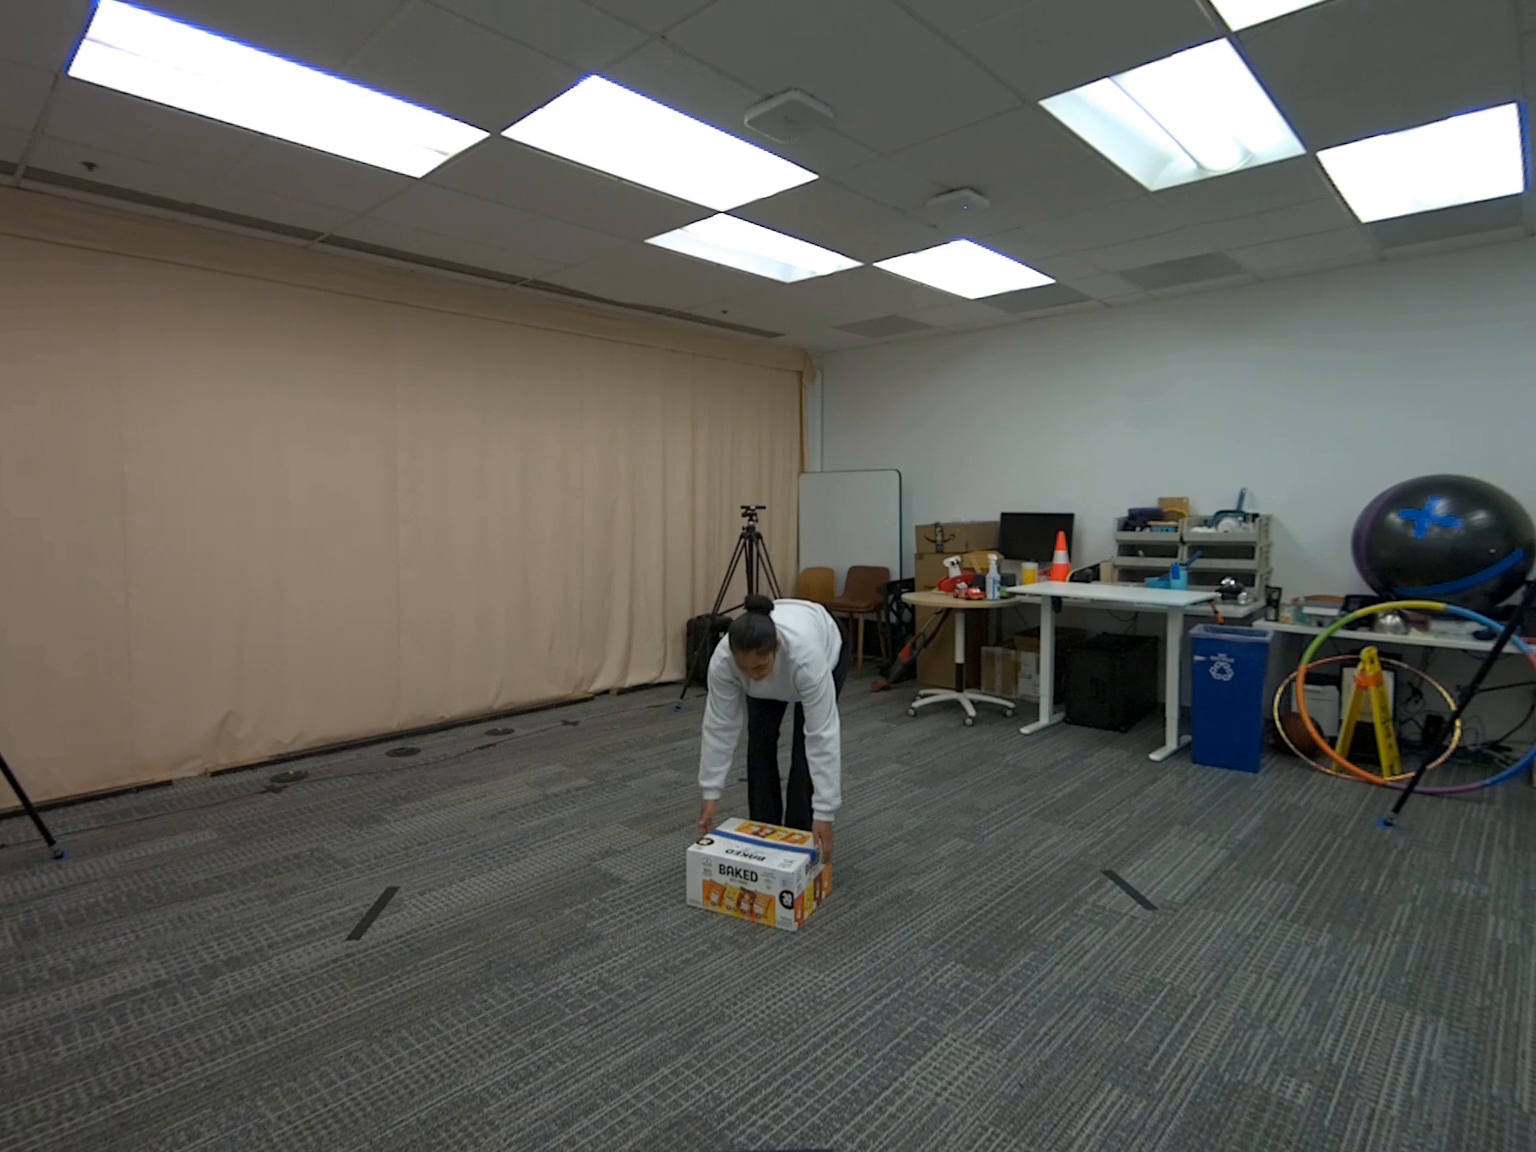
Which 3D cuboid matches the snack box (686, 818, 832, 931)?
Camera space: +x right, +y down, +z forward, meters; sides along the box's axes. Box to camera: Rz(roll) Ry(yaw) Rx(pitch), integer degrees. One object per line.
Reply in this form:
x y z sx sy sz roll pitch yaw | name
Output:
-0.026 1.038 2.982 0.416 0.205 0.332 2 5 27 | snack box
